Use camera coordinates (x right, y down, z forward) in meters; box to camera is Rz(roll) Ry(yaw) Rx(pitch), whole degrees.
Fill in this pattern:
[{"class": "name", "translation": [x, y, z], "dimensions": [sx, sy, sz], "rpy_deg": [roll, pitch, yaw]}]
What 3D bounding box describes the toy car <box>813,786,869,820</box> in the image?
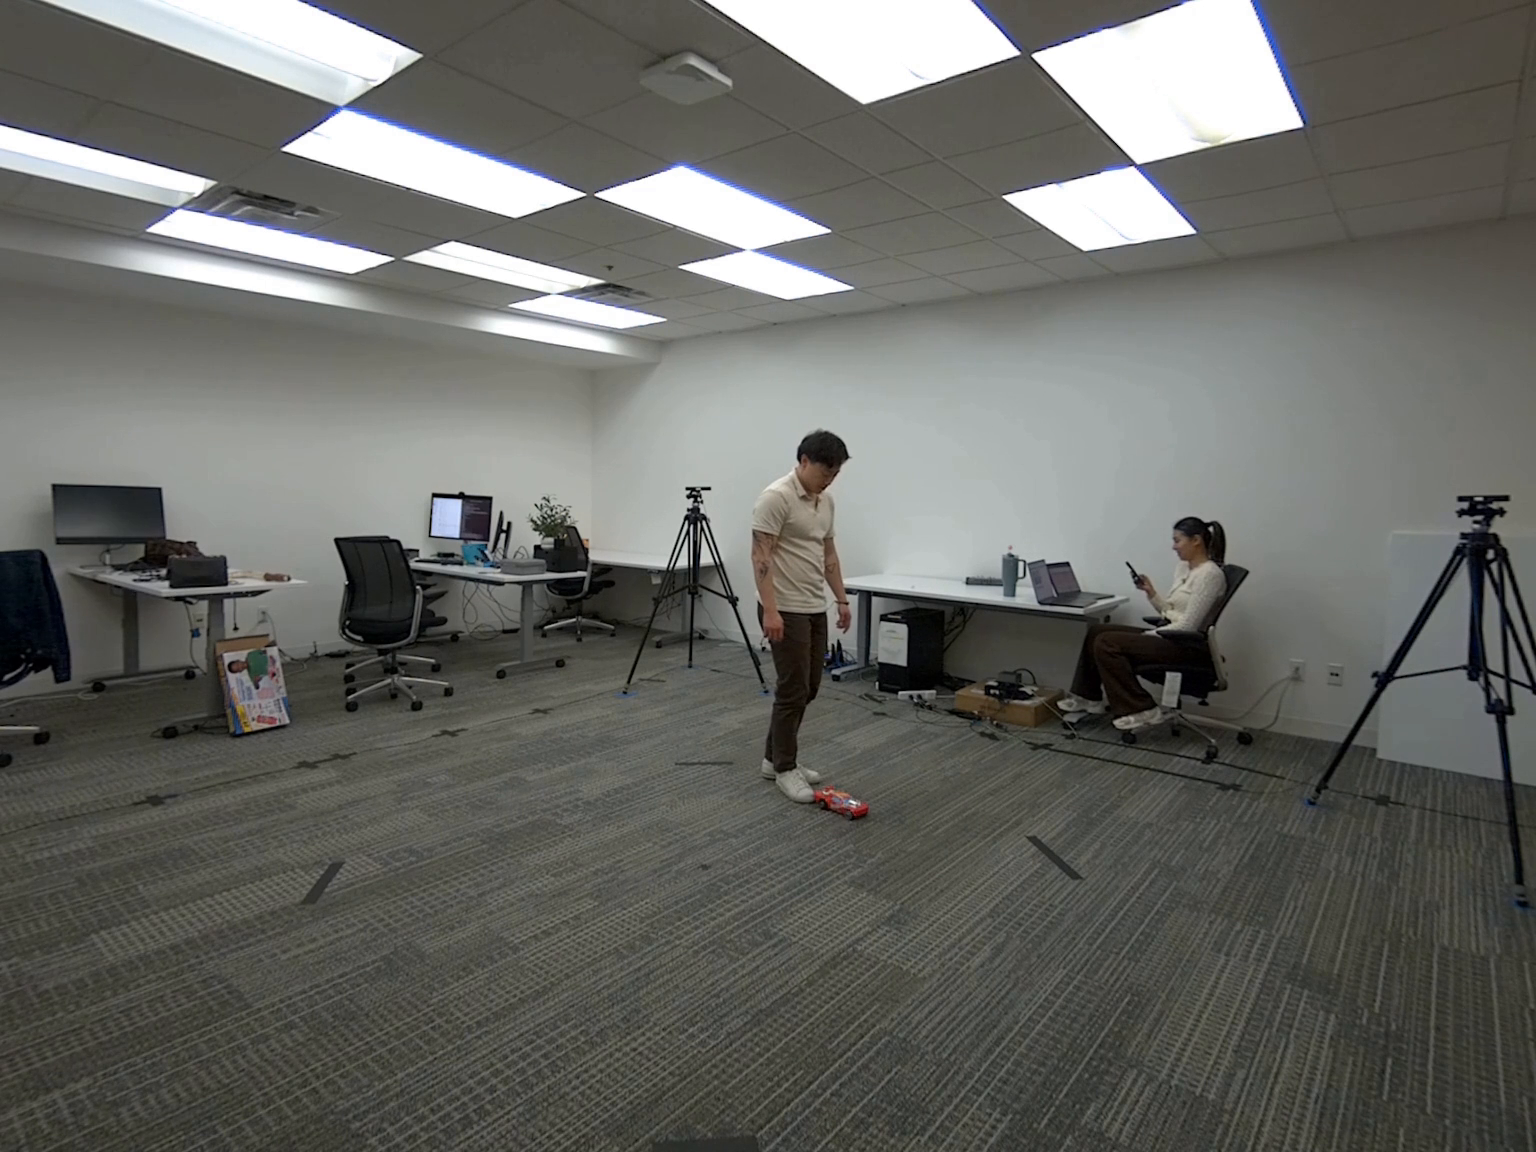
[{"class": "toy car", "translation": [0.307, 0.984, 3.709], "dimensions": [0.126, 0.082, 0.265], "rpy_deg": [-3, 17, -42]}]
